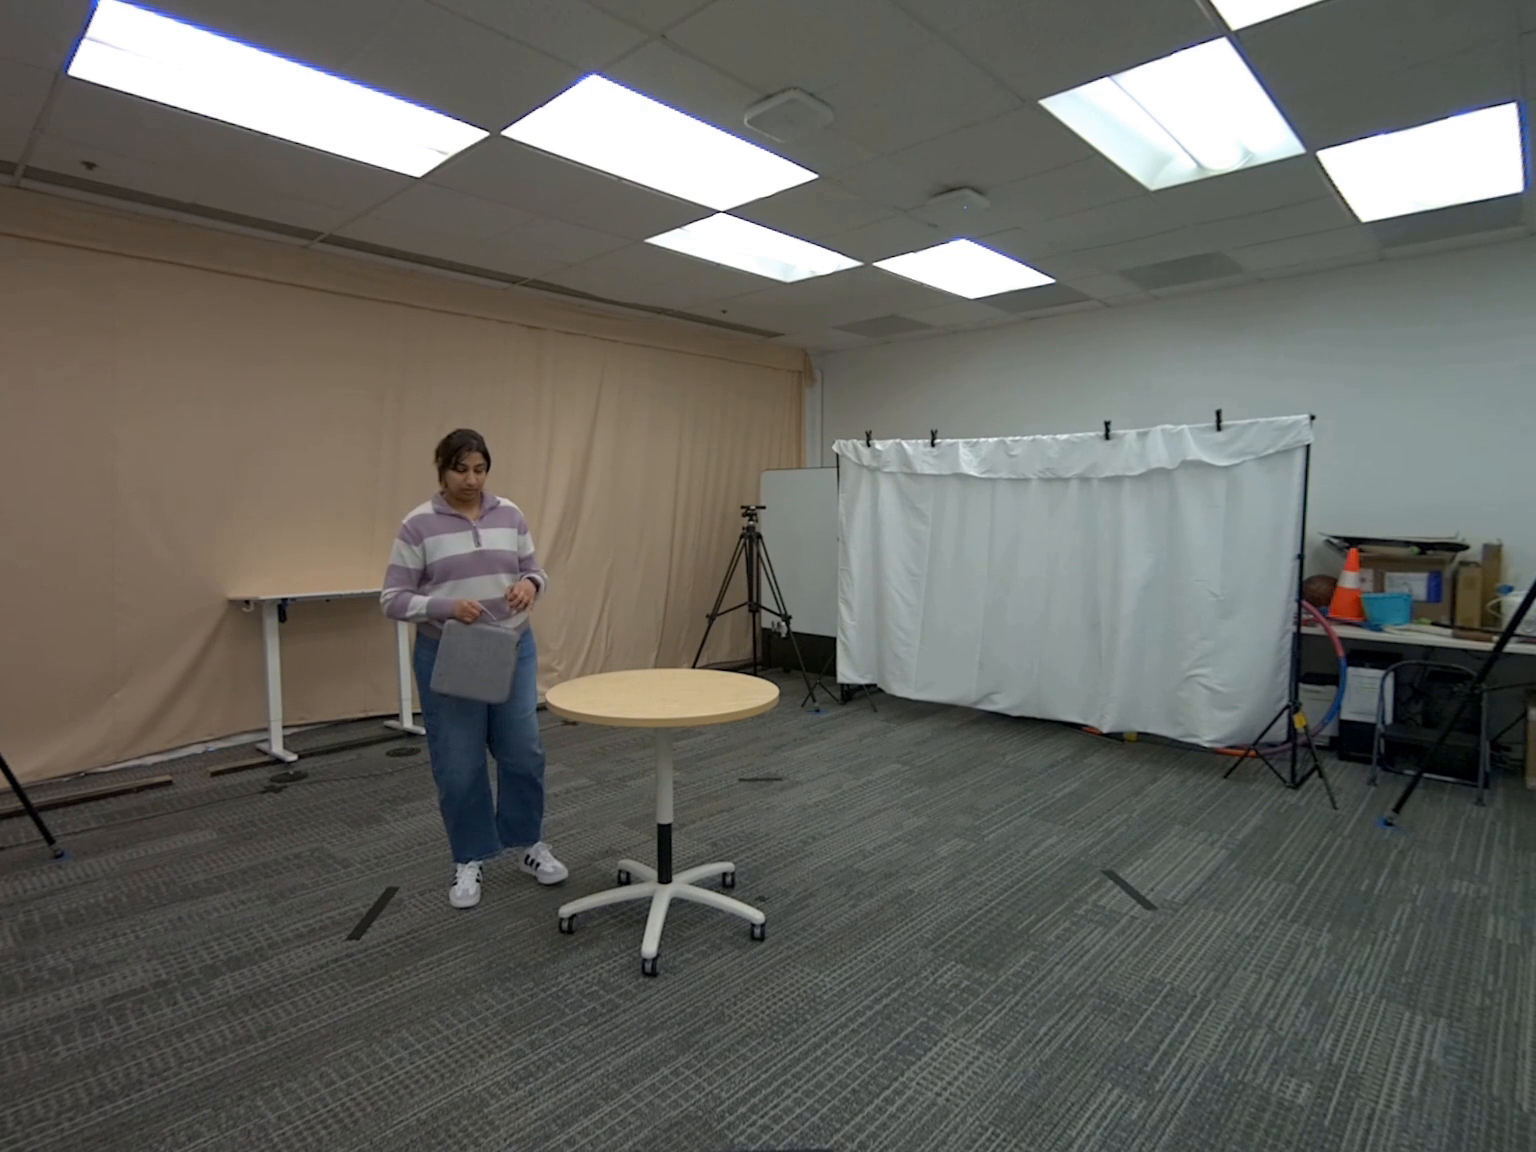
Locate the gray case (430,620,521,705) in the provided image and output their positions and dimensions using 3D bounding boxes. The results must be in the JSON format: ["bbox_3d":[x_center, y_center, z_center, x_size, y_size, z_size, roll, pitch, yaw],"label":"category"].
[{"bbox_3d":[-0.969,0.277,2.796,0.256,0.261,0.104,9,-5,-3],"label":"gray case"}]
